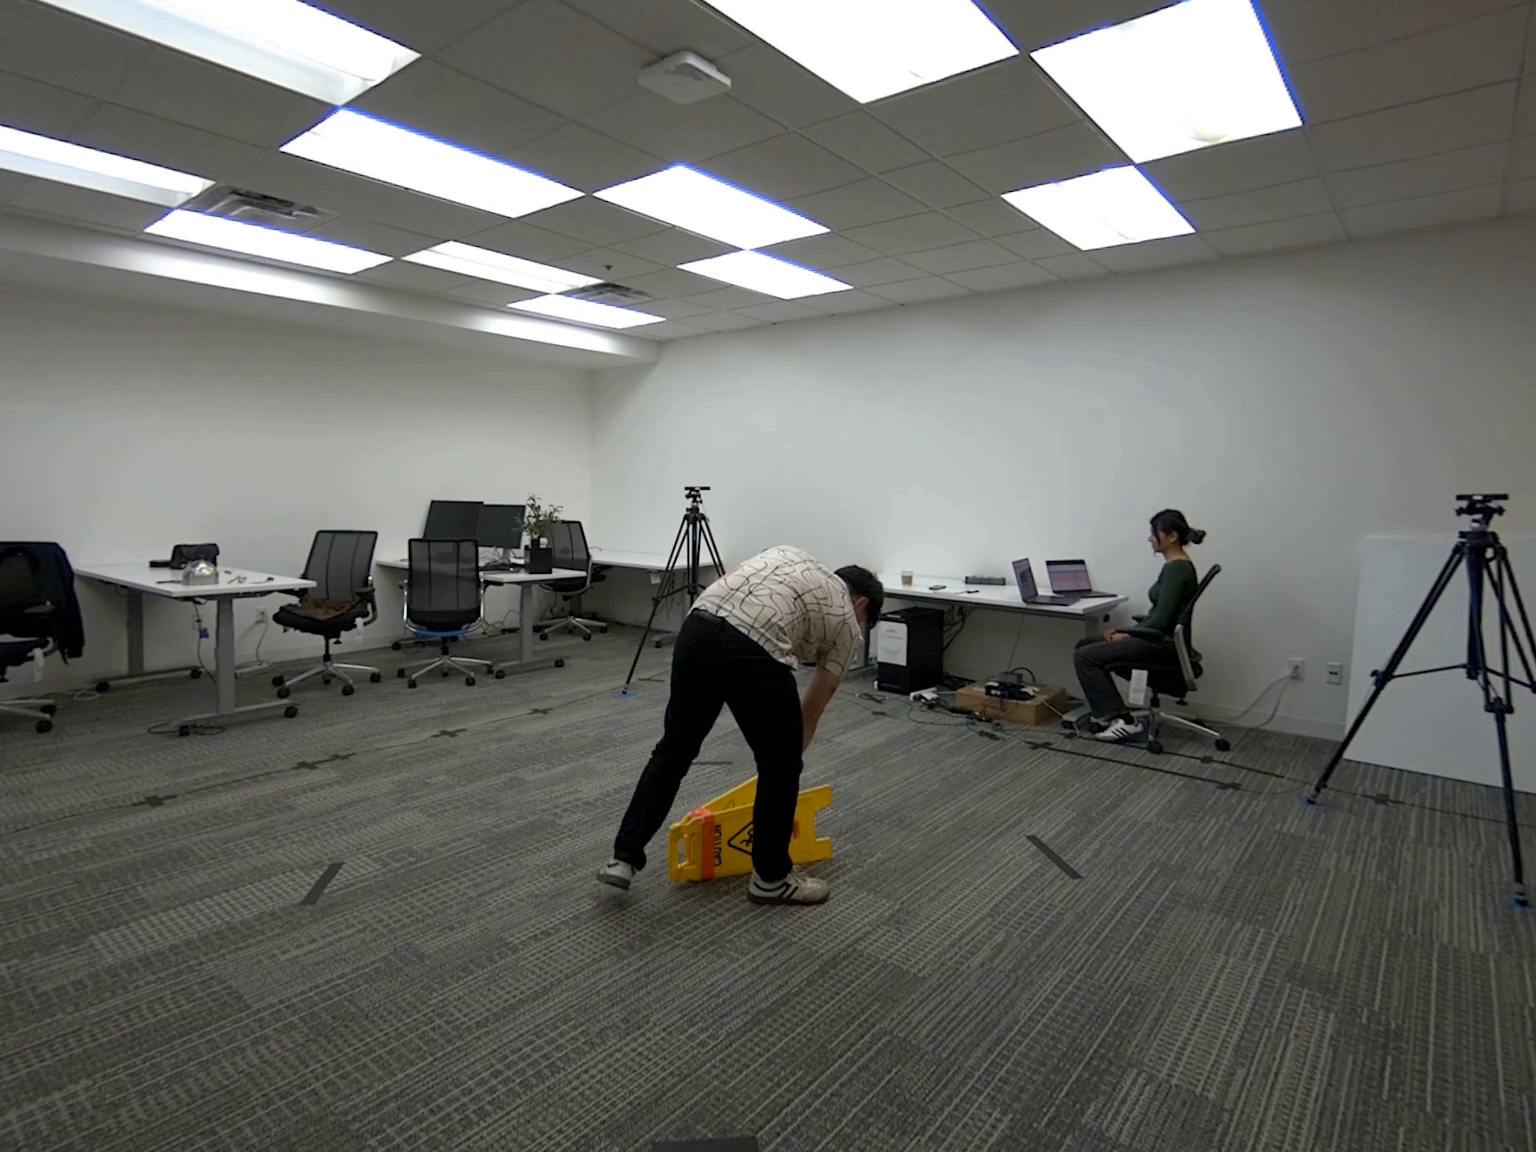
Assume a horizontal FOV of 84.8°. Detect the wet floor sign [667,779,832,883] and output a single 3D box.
[{"bbox_3d":[-0.105,0.936,3.131,0.628,0.281,0.299,-6,6,-39],"label":"wet floor sign"}]
